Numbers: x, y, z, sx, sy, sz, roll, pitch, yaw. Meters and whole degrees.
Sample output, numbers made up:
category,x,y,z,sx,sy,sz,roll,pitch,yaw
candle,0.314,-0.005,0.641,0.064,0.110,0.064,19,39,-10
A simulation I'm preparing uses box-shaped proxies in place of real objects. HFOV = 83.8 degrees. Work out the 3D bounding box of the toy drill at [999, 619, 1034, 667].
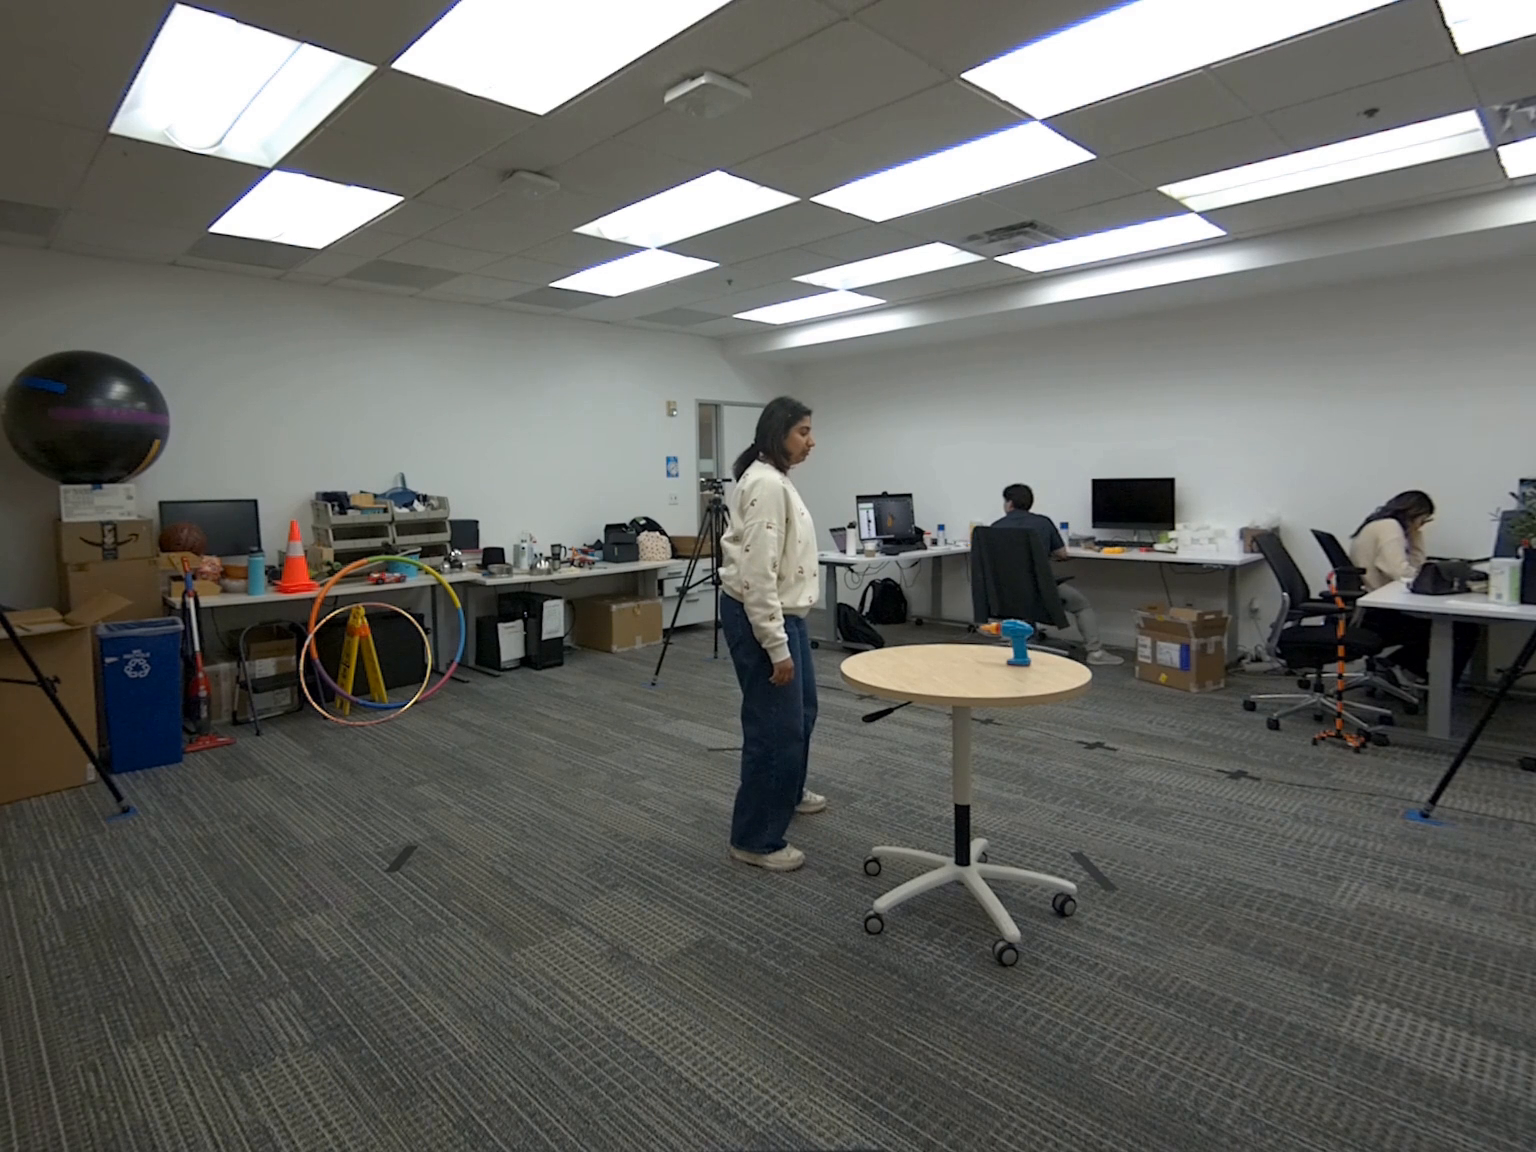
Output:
category,x,y,z,sx,sy,sz,roll,pitch,yaw
toy drill,0.781,0.212,2.752,0.174,0.145,0.060,3,4,30
